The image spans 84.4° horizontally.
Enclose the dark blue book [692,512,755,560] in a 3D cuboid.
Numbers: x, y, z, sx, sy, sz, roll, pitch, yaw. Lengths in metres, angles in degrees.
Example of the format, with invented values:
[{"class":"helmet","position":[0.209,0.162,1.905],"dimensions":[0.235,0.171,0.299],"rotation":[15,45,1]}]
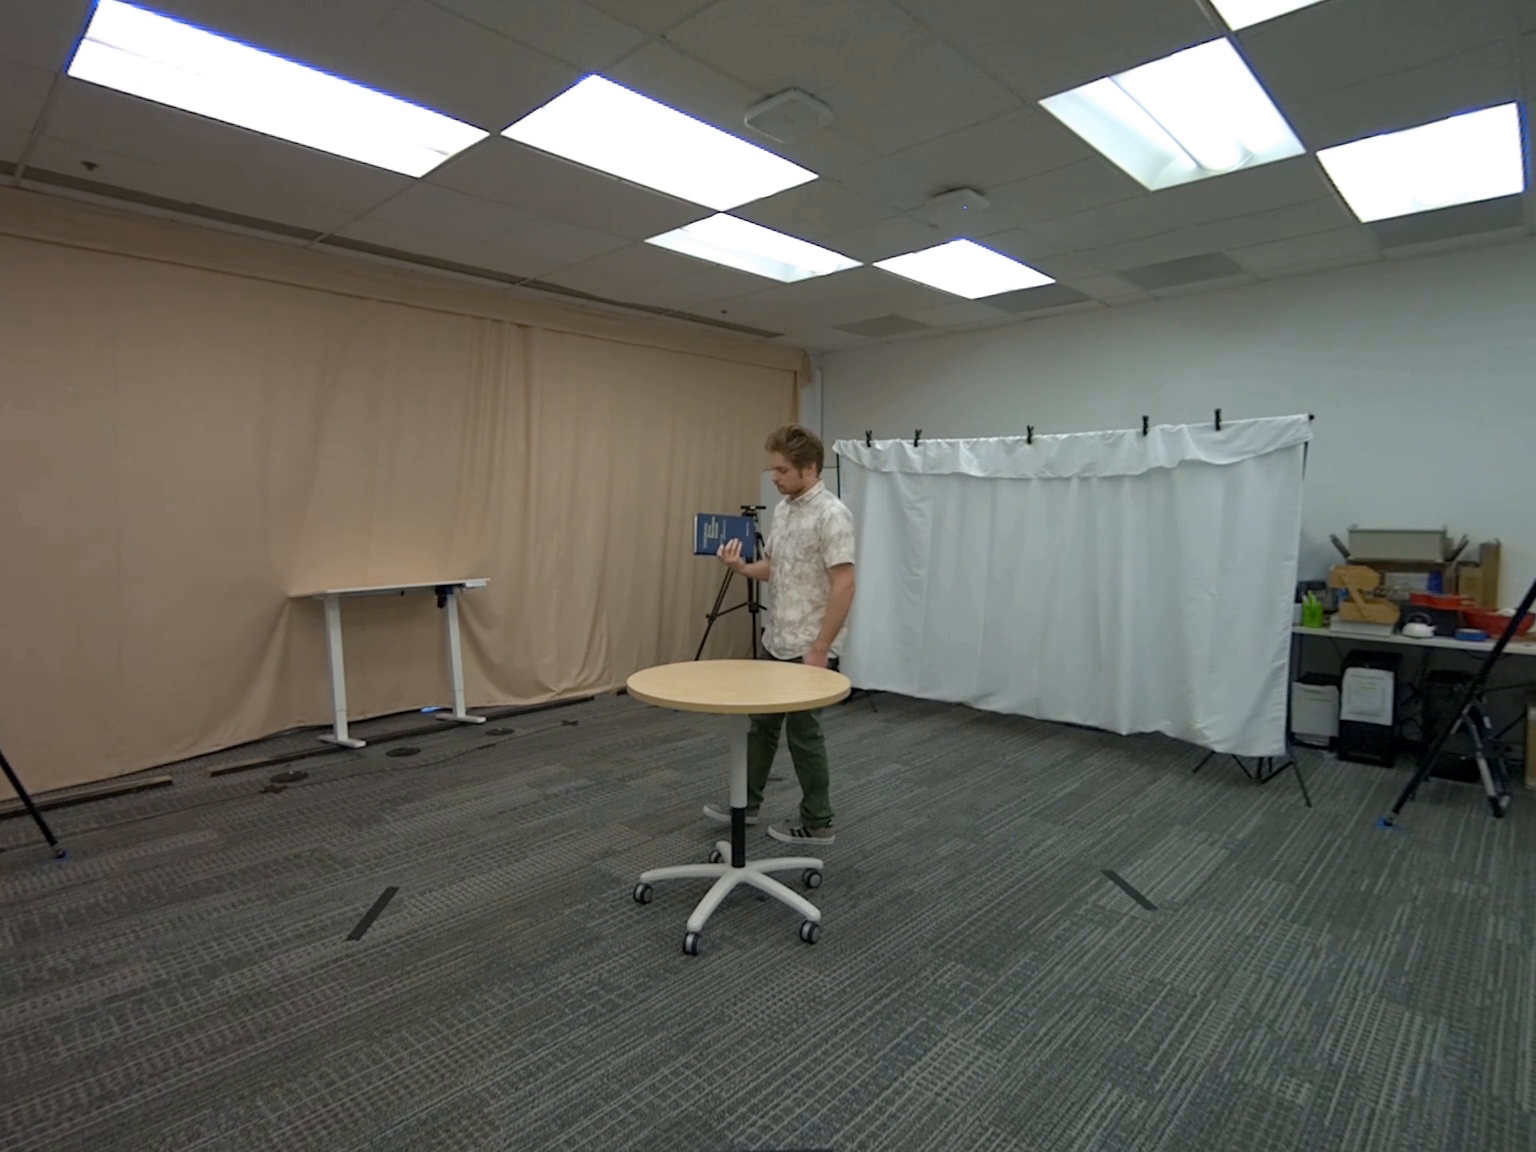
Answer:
[{"class":"dark blue book","position":[-0.182,-0.163,3.431],"dimensions":[0.241,0.164,0.045],"rotation":[5,-11,-14]}]
